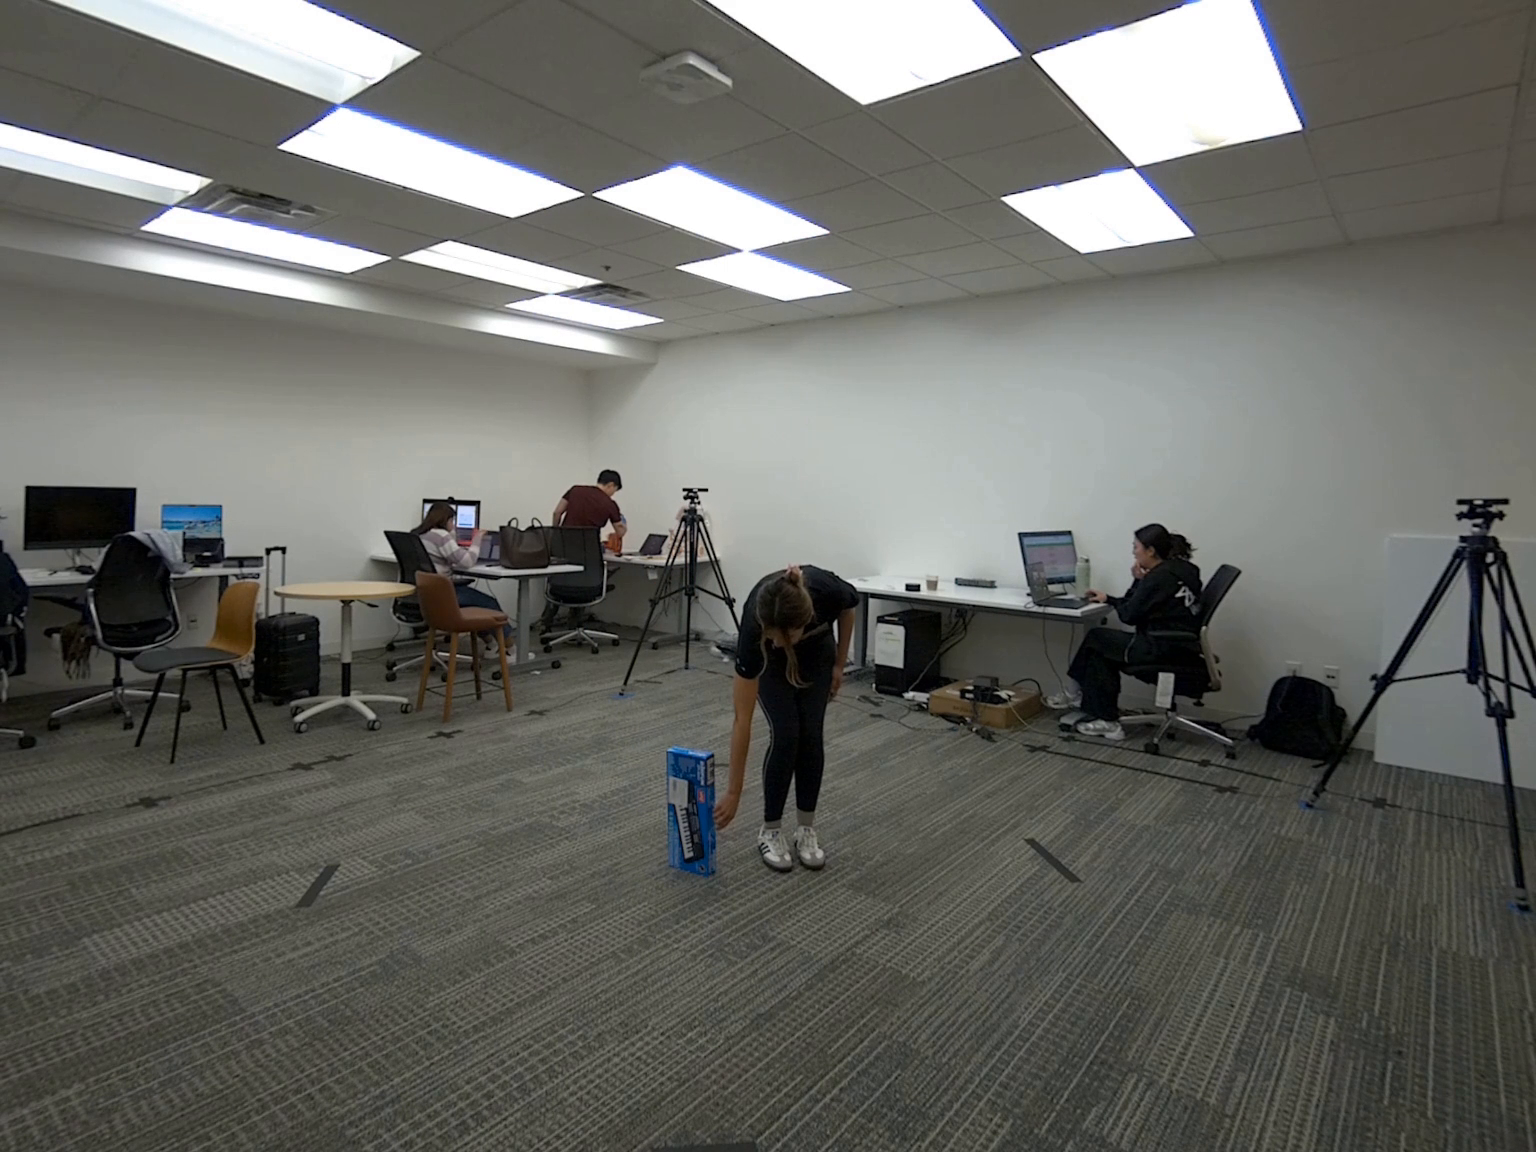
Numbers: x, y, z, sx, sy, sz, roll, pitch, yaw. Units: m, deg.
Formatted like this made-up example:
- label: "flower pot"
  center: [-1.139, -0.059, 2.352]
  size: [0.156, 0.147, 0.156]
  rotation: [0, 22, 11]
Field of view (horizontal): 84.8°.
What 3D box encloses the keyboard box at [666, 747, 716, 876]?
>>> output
- label: "keyboard box"
  center: [-0.293, 0.852, 3.095]
  size: [0.181, 0.434, 0.058]
  rotation: [2, 6, 28]
